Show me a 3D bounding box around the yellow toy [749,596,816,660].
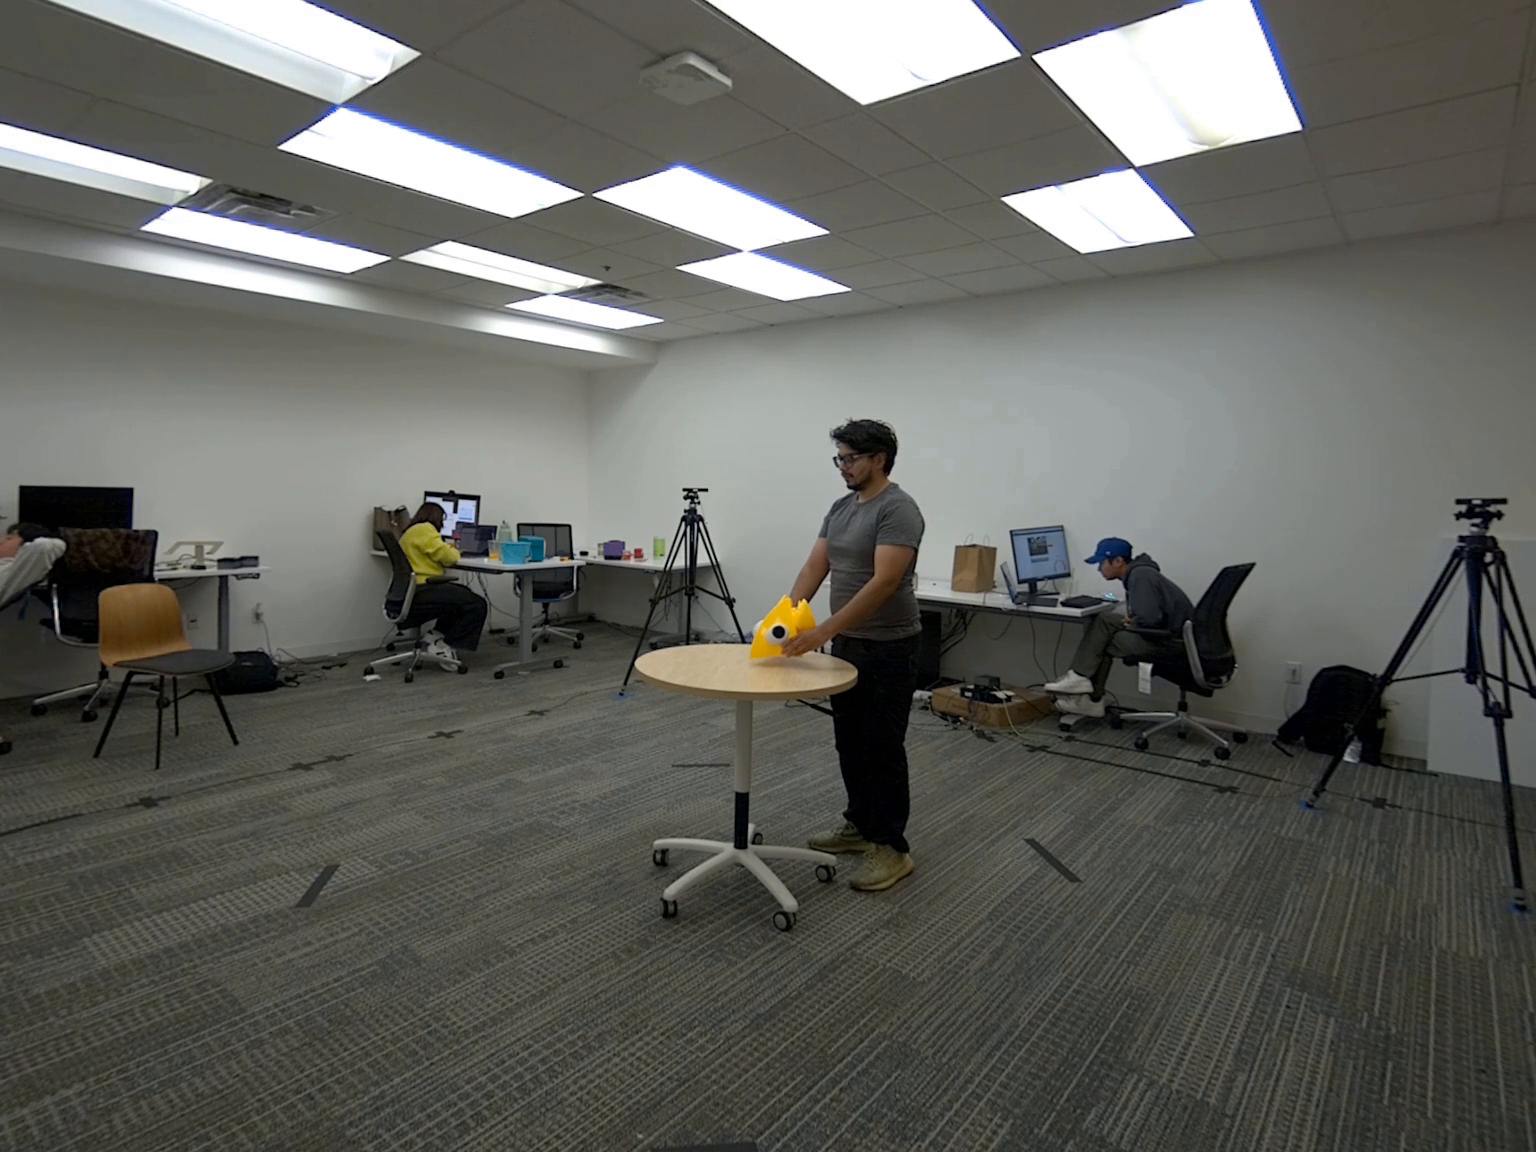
[{"bbox_3d":[0.011,0.195,2.976,0.227,0.190,0.211,-19,14,-25],"label":"yellow toy"}]
